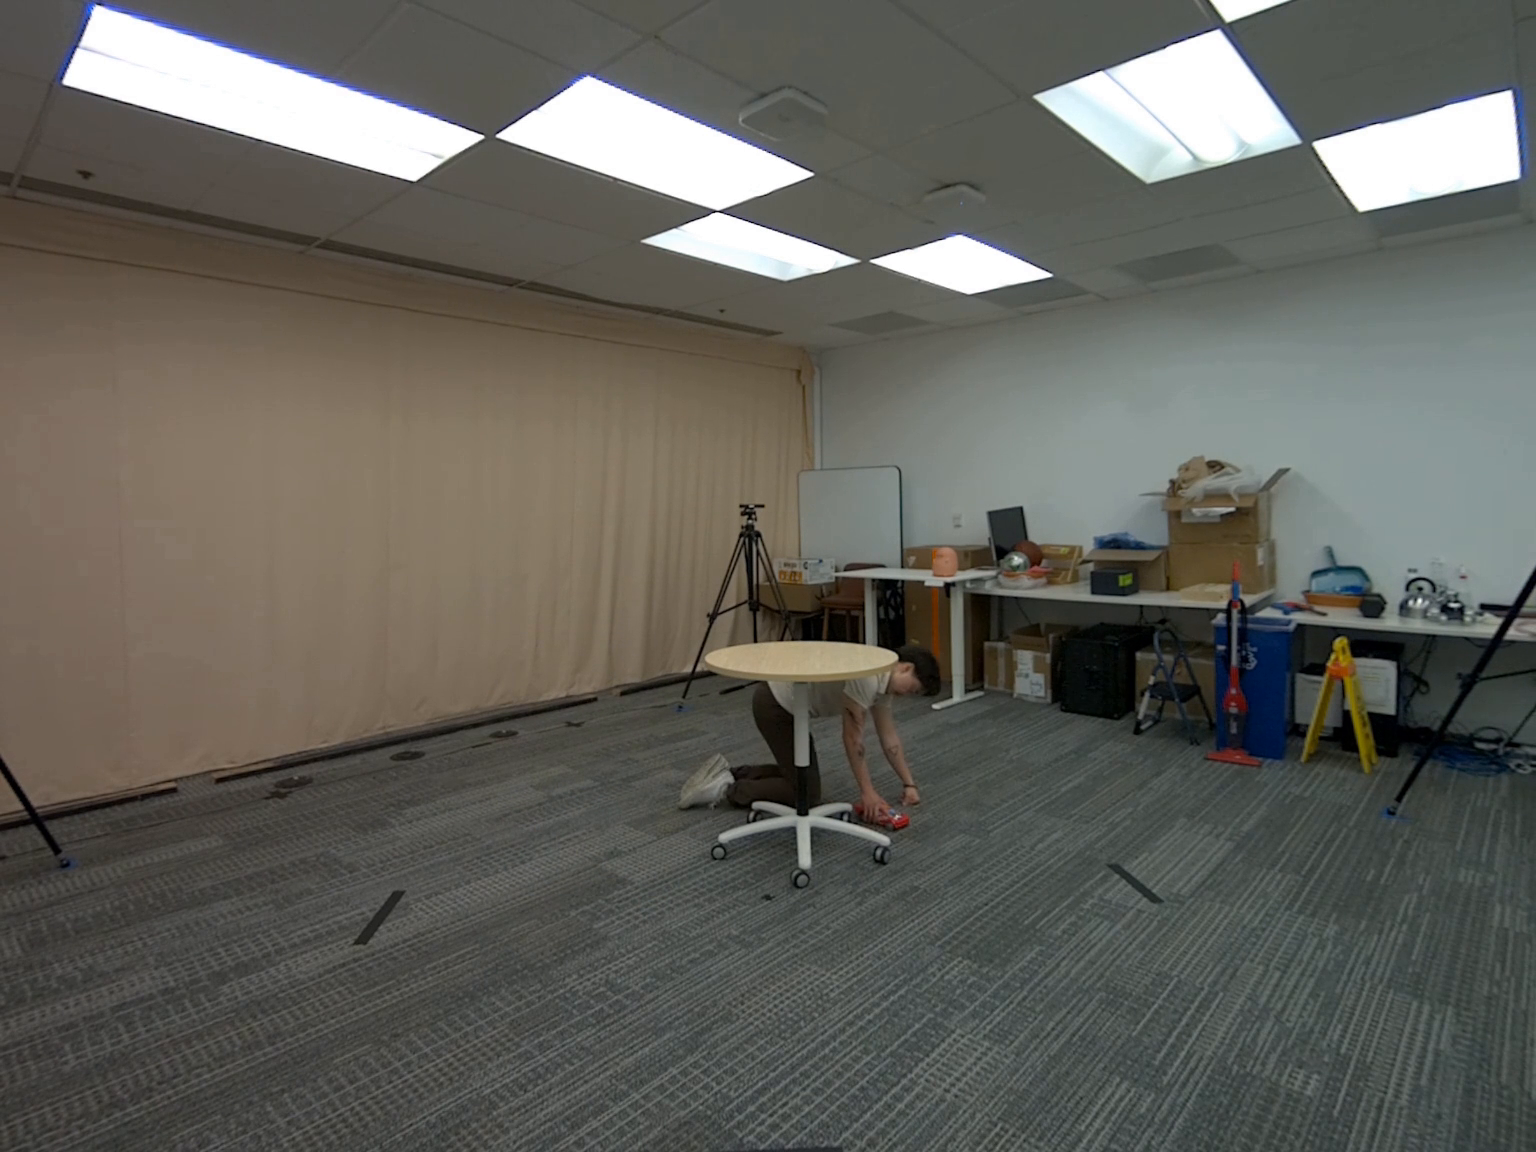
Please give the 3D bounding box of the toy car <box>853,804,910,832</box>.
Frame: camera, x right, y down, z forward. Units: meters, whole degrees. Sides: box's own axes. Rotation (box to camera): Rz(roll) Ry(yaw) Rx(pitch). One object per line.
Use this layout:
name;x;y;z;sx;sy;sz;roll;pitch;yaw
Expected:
toy car;0.504;1.045;3.678;0.126;0.083;0.264;-5;17;-42
